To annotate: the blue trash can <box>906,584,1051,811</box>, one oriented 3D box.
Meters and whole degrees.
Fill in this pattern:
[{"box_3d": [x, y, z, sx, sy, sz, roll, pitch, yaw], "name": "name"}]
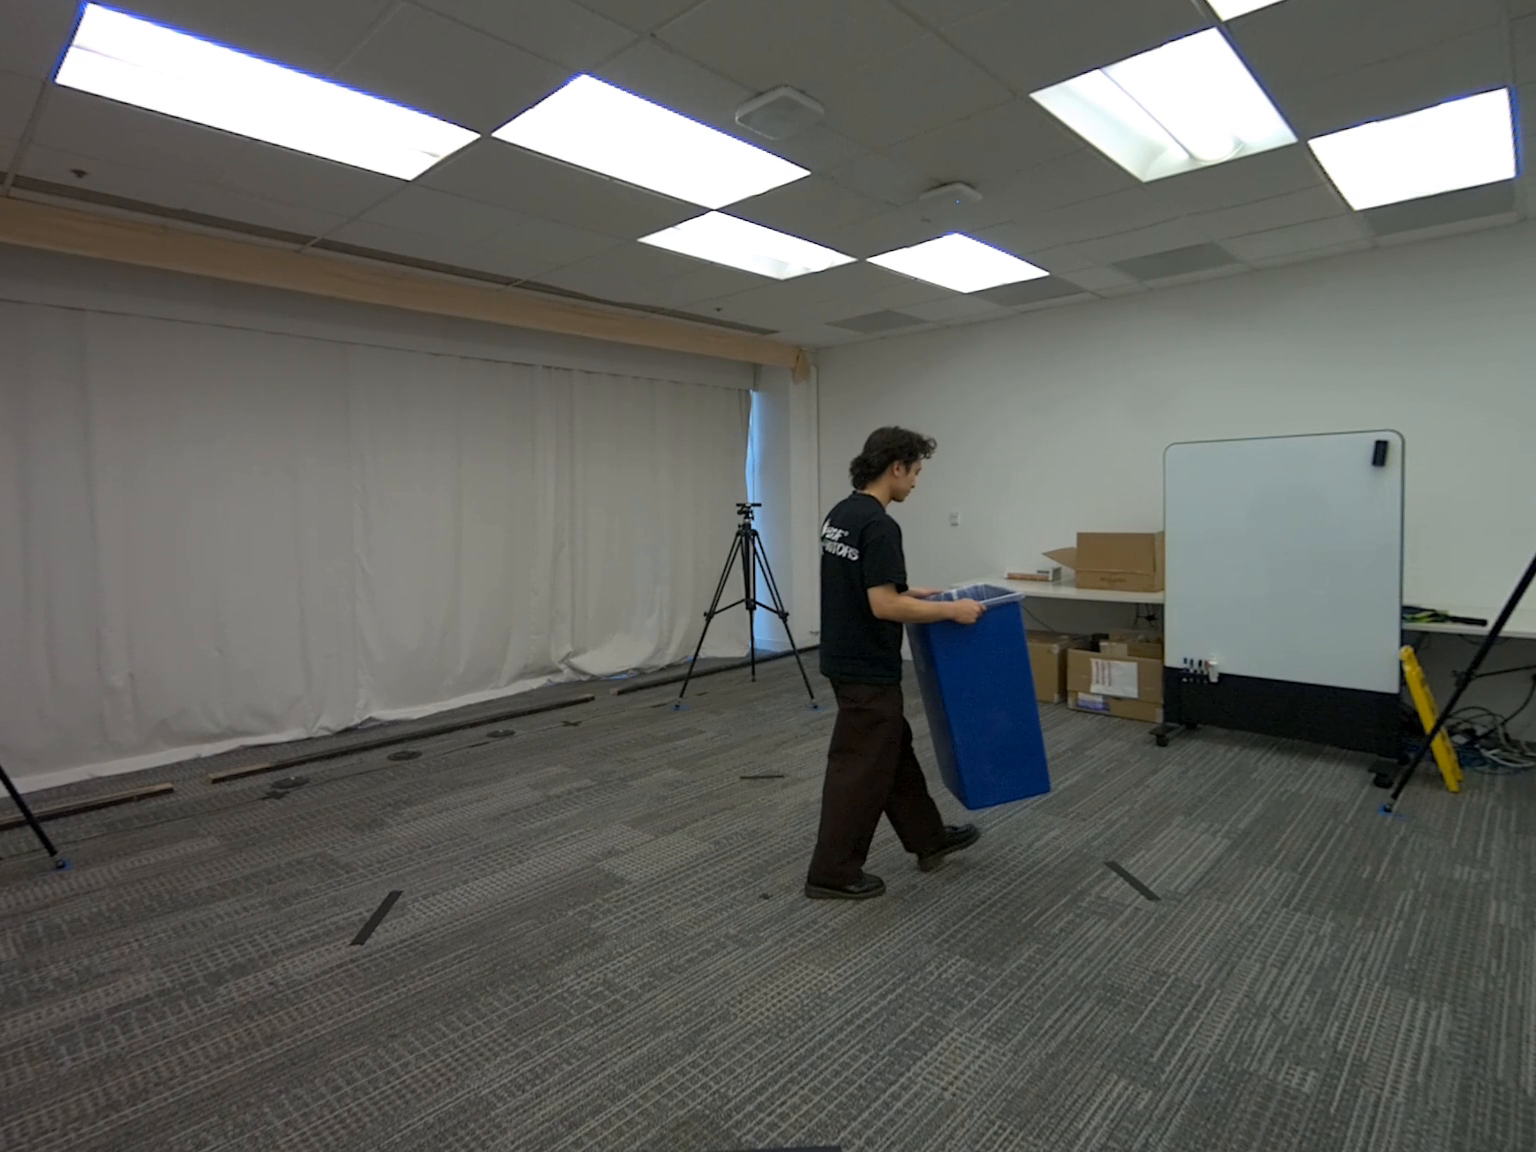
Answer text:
[{"box_3d": [0.760, 0.429, 3.029, 0.377, 0.712, 0.376, -12, 3, -4], "name": "blue trash can"}]
